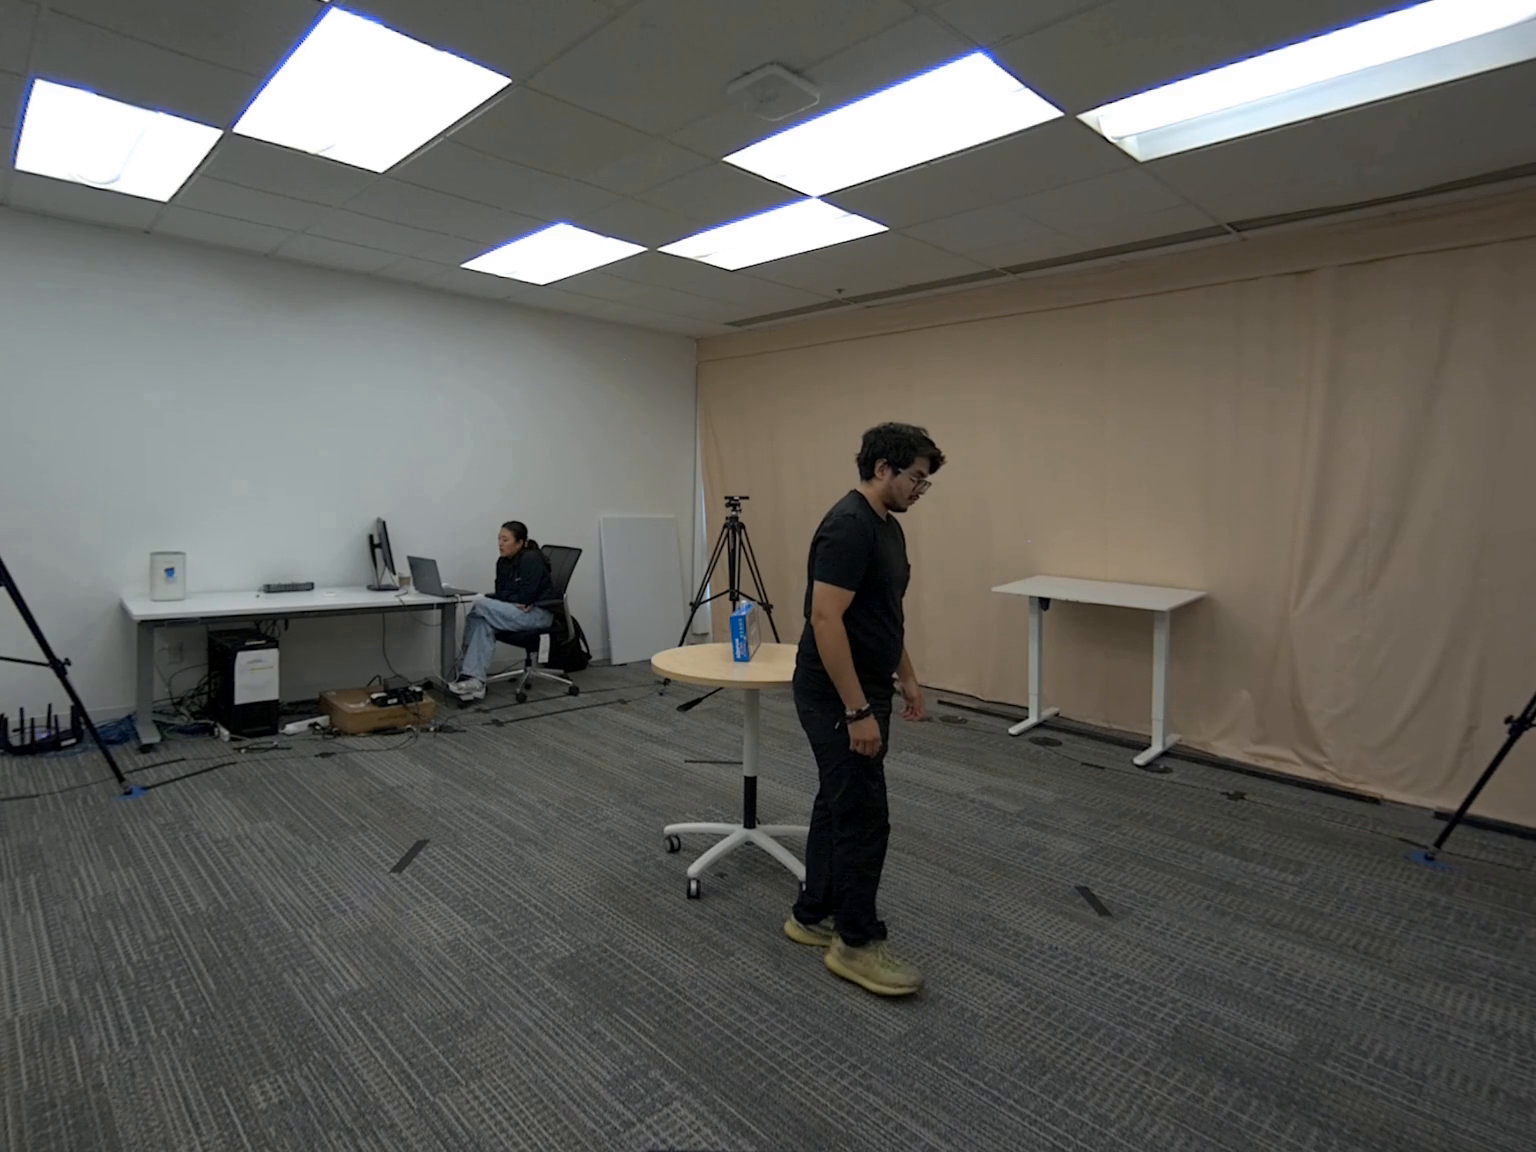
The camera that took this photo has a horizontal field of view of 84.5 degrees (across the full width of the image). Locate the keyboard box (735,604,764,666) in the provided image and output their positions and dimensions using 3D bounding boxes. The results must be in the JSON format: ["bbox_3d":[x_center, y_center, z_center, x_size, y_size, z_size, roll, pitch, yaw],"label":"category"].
[{"bbox_3d":[-0.072,0.224,3.336,0.059,0.175,0.435,1,4,5],"label":"keyboard box"}]
